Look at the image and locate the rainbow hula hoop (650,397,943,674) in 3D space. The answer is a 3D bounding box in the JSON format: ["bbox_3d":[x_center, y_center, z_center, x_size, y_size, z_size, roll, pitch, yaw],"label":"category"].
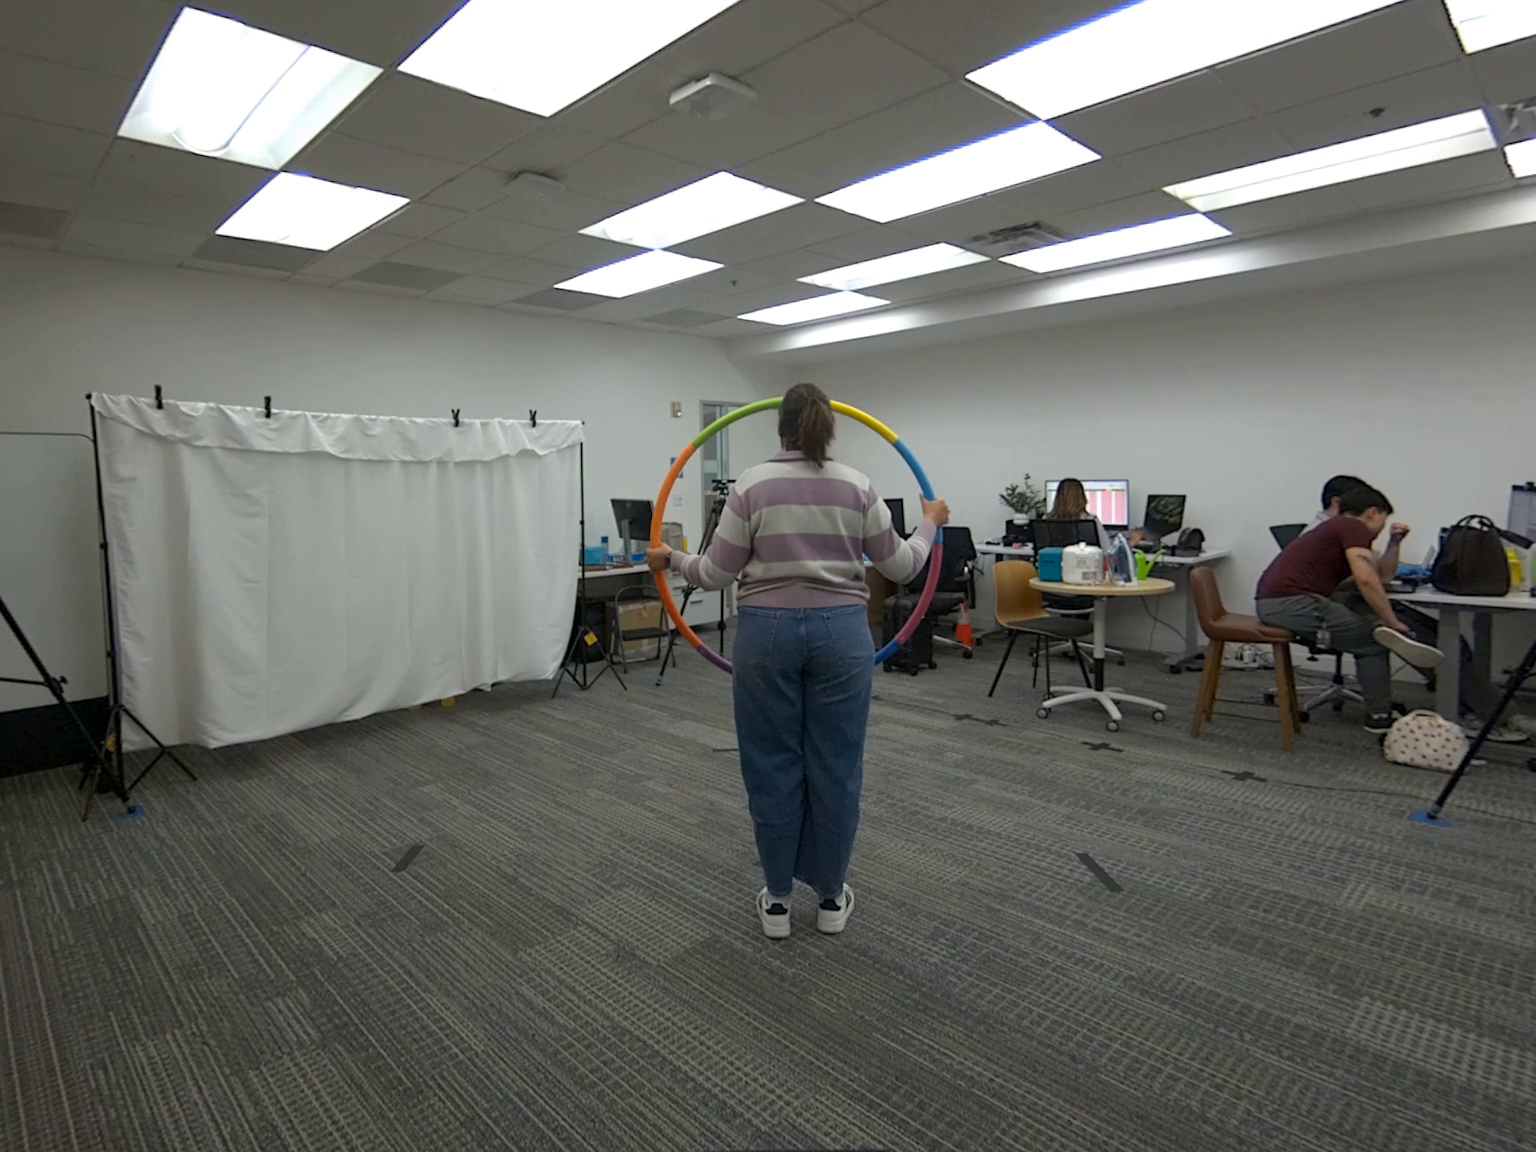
[{"bbox_3d":[0.090,-0.106,2.874,0.980,0.974,0.035,-1,5,2],"label":"rainbow hula hoop"}]
